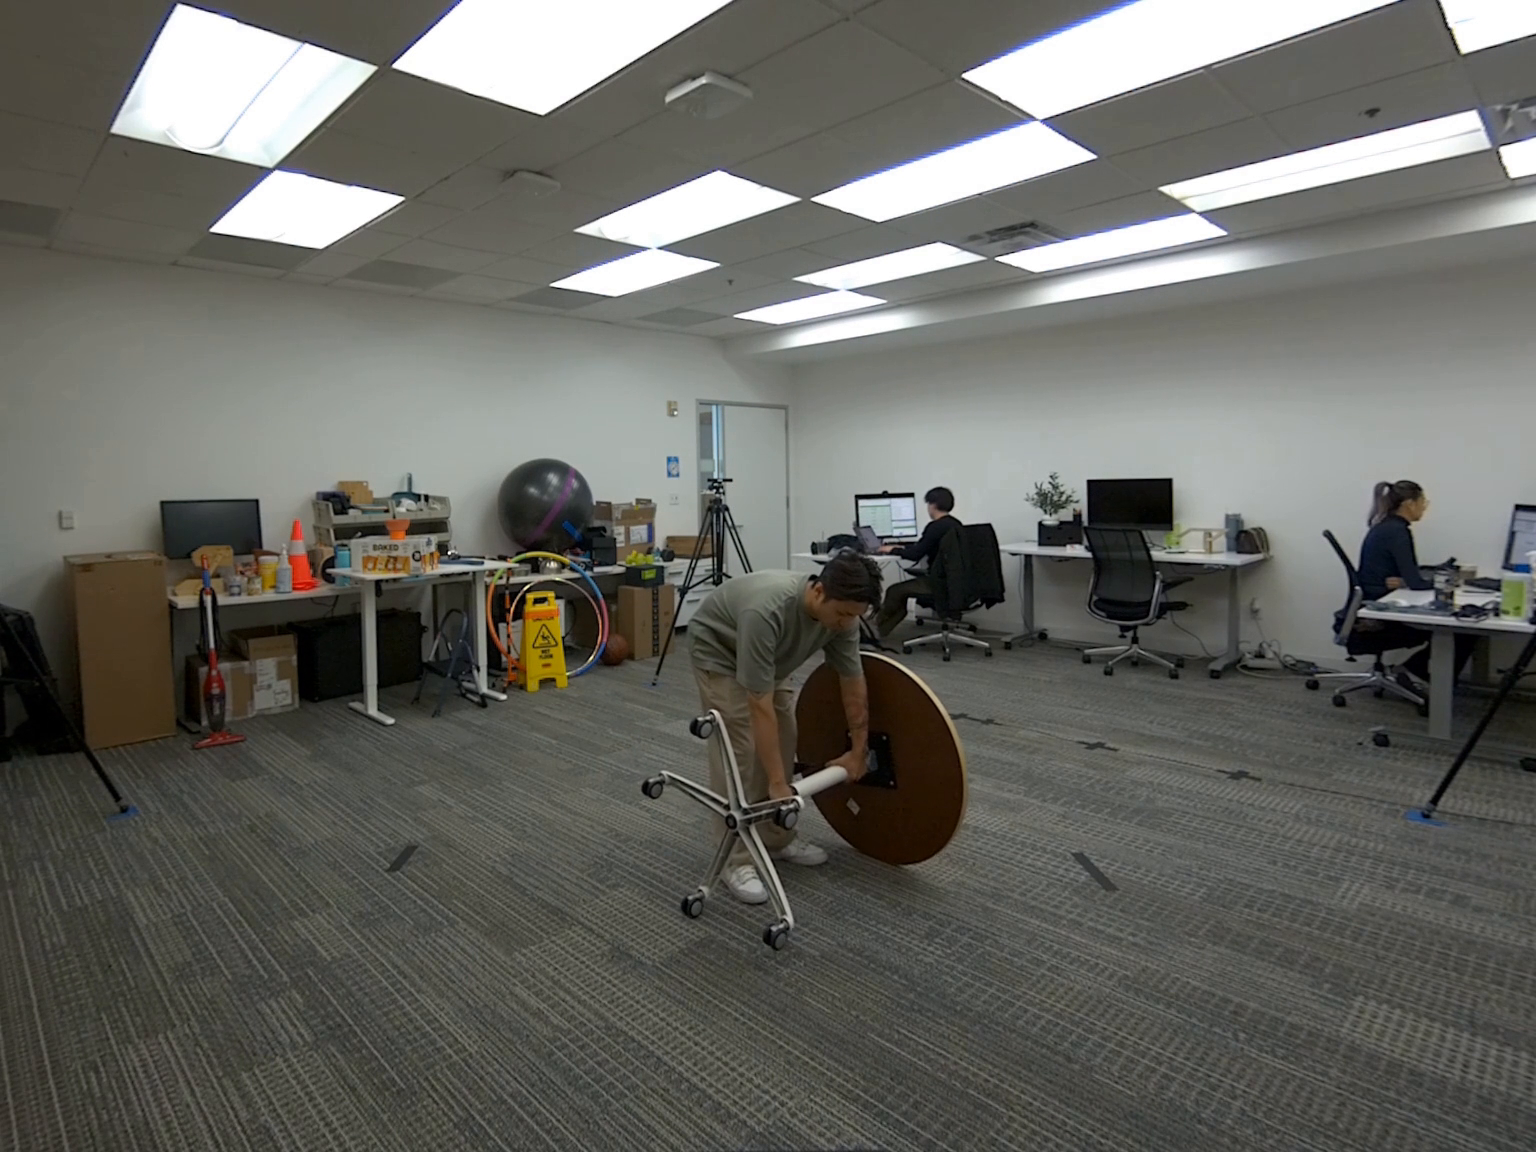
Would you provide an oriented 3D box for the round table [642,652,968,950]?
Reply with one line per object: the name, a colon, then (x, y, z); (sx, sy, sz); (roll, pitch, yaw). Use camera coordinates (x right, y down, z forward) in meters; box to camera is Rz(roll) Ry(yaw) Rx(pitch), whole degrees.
round table: (0.117, 0.715, 2.830); (0.768, 0.779, 0.809); (-12, 11, -43)
